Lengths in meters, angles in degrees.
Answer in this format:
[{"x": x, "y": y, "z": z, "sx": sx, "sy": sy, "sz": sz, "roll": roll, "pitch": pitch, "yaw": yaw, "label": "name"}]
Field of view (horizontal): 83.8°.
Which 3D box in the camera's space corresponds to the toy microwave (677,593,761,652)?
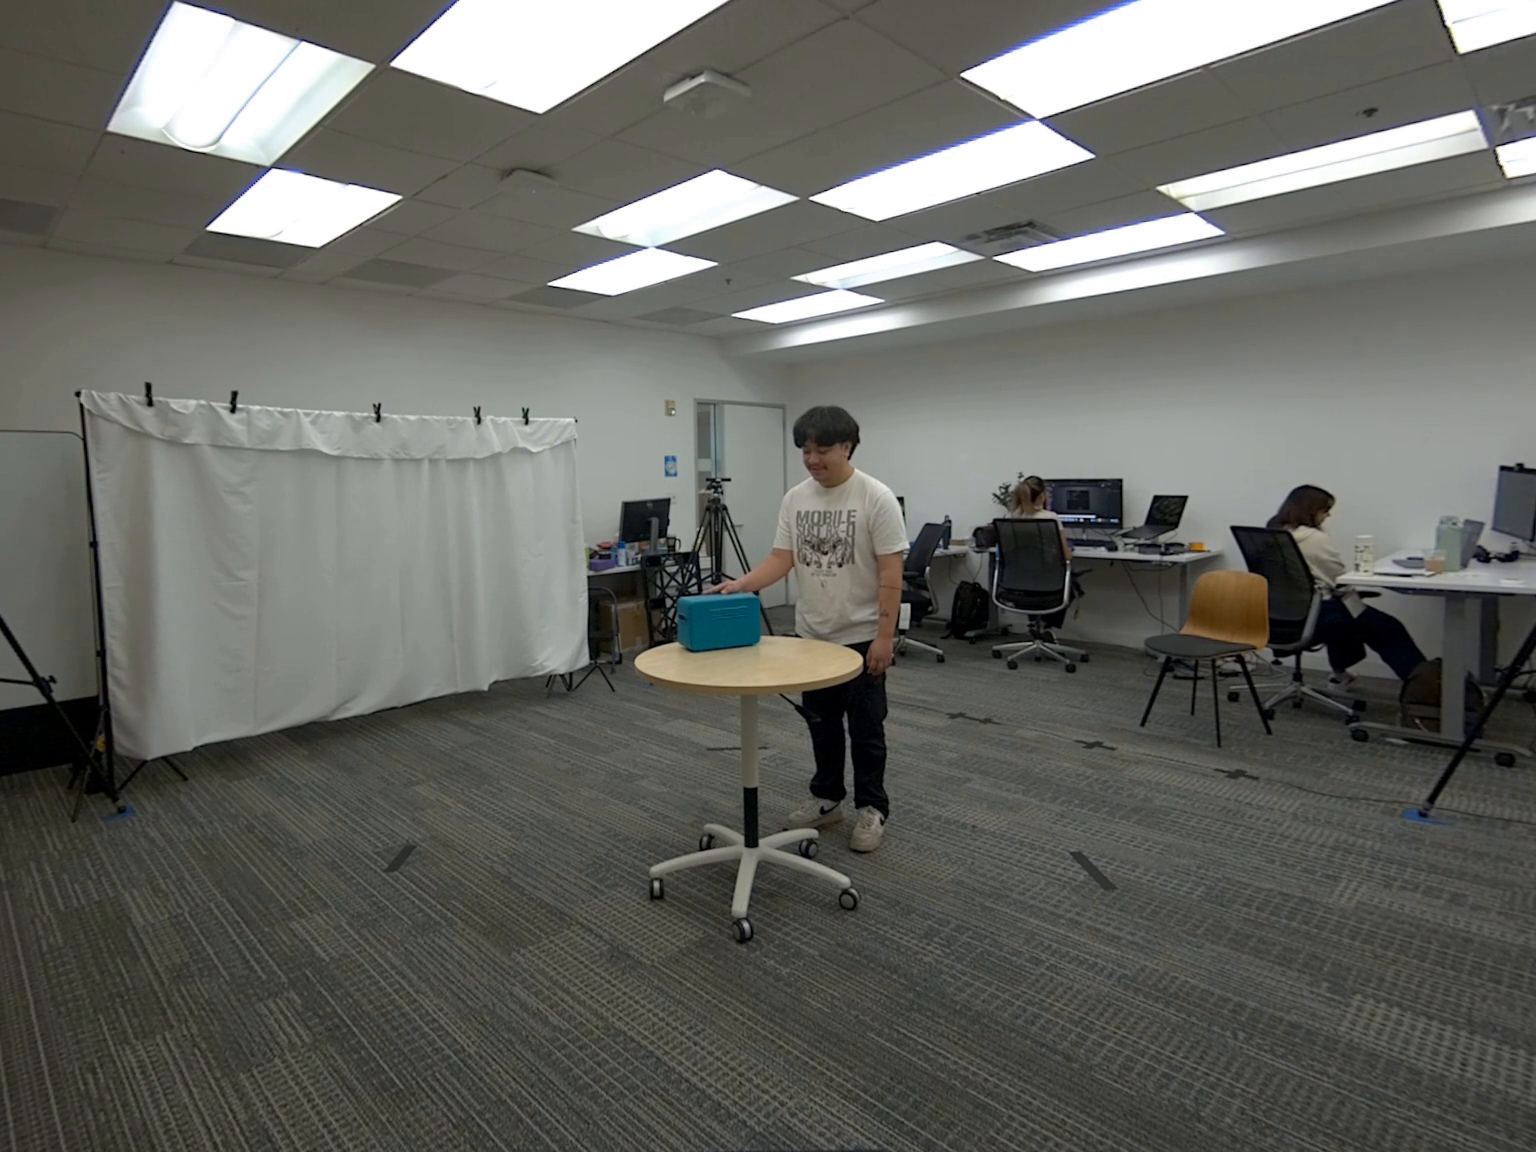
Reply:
[{"x": -0.177, "y": 0.161, "z": 3.079, "sx": 0.280, "sy": 0.183, "sz": 0.156, "roll": -4, "pitch": 6, "yaw": -25, "label": "toy microwave"}]
